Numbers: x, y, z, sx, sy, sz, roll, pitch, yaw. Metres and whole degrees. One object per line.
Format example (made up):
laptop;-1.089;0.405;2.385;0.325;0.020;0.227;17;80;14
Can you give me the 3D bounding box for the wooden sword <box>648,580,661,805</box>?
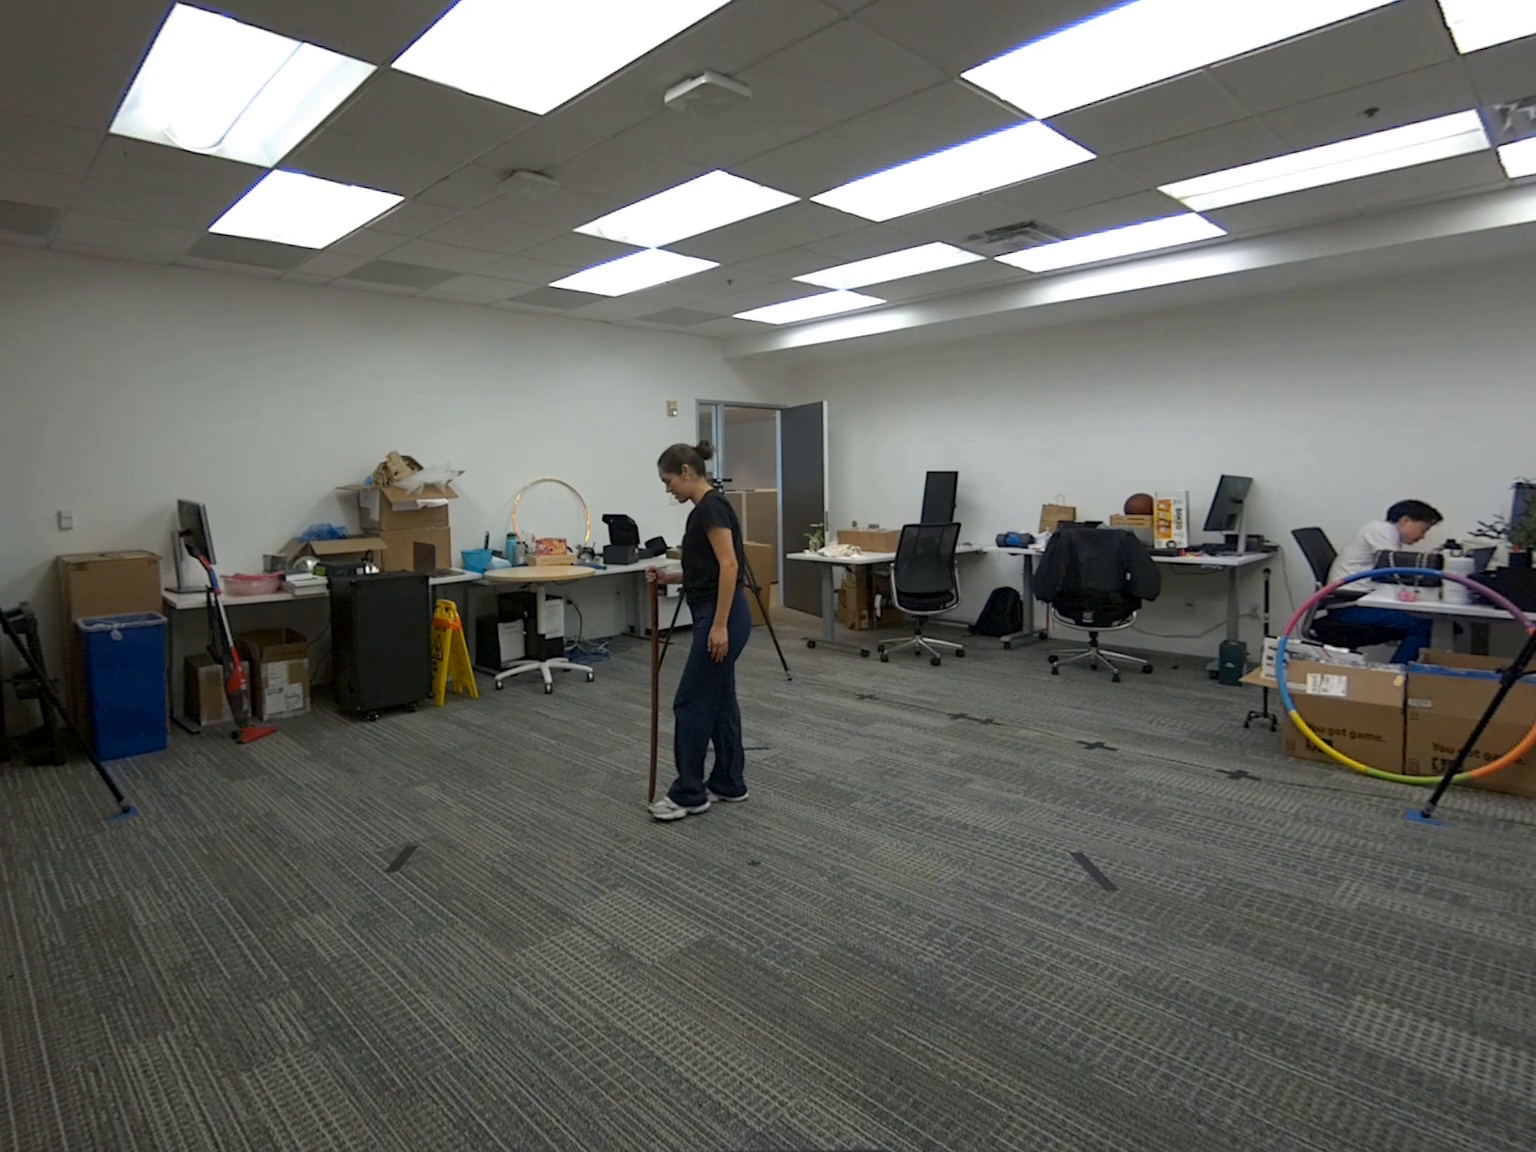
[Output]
wooden sword;-0.498;0.481;3.768;0.024;1.027;0.052;2;-2;-17
